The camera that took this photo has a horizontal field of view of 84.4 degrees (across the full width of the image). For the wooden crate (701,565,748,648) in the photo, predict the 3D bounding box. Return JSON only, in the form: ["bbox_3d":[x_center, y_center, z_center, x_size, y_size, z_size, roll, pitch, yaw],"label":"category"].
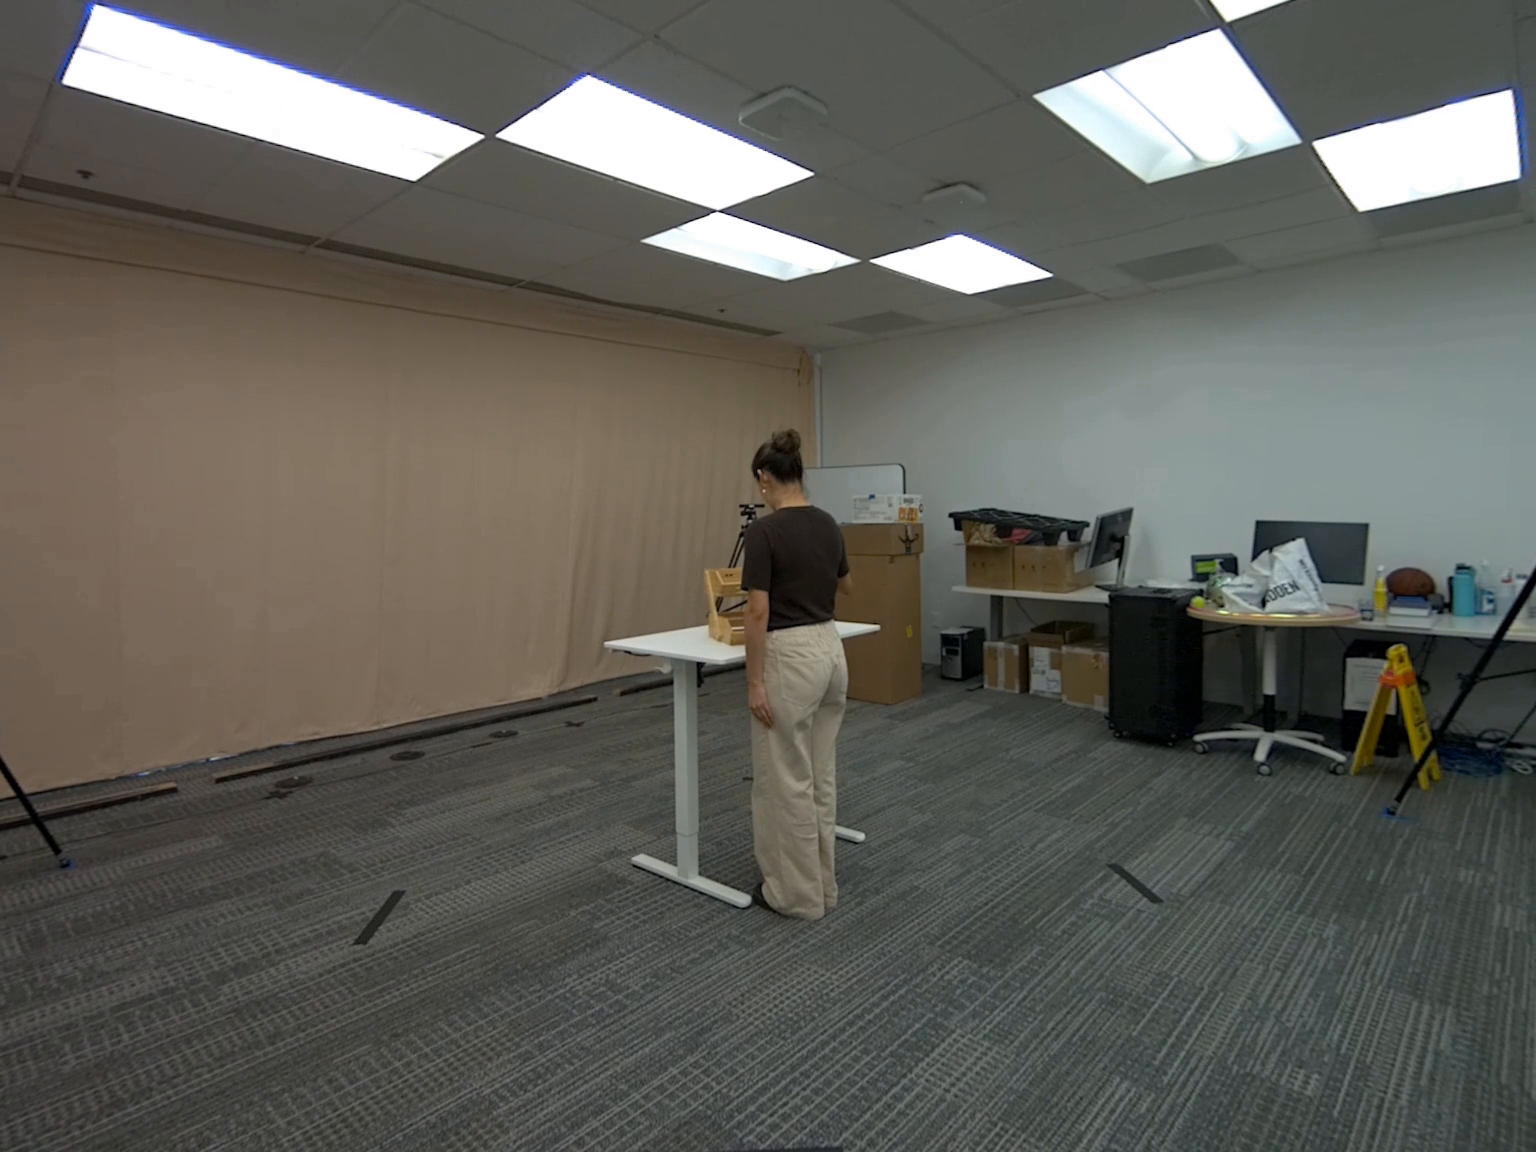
[{"bbox_3d":[-0.051,0.103,3.224,0.318,0.273,0.309,-2,4,-22],"label":"wooden crate"}]
